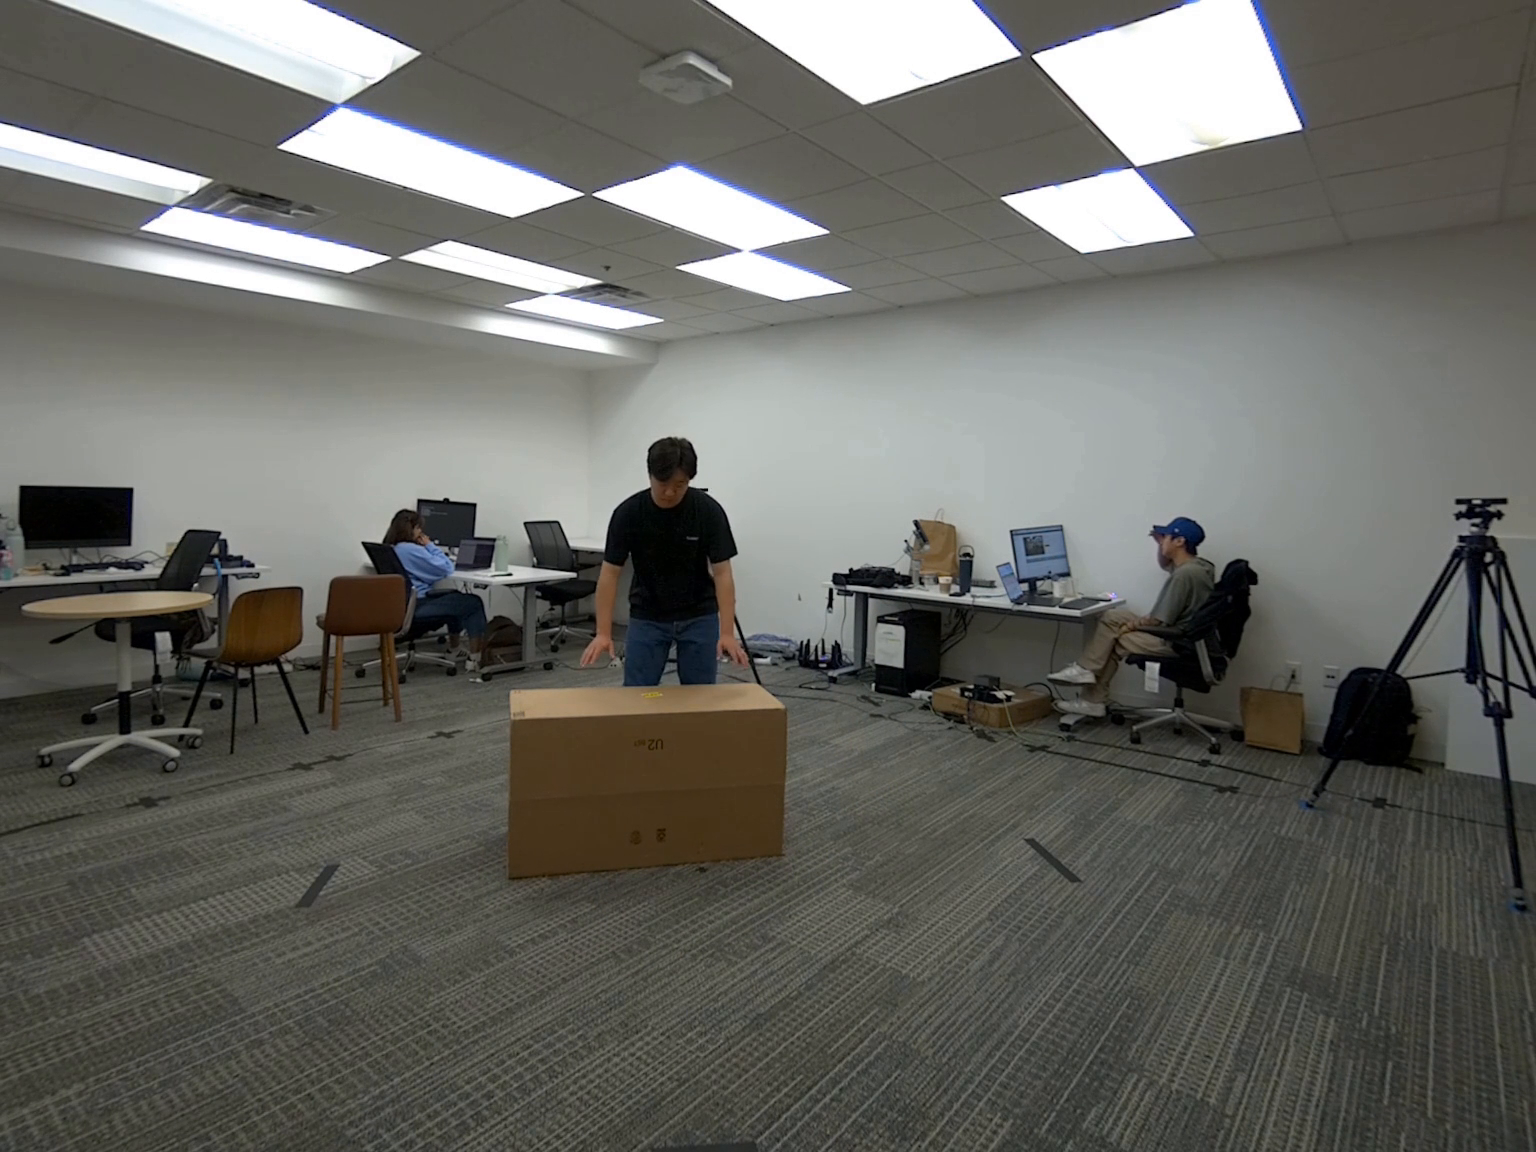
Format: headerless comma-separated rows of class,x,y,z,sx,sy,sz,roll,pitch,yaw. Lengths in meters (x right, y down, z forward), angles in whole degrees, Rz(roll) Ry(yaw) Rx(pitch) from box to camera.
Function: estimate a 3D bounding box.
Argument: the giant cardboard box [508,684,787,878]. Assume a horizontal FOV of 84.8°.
giant cardboard box,-0.493,0.758,3.305,1.011,0.583,0.455,0,3,-15
